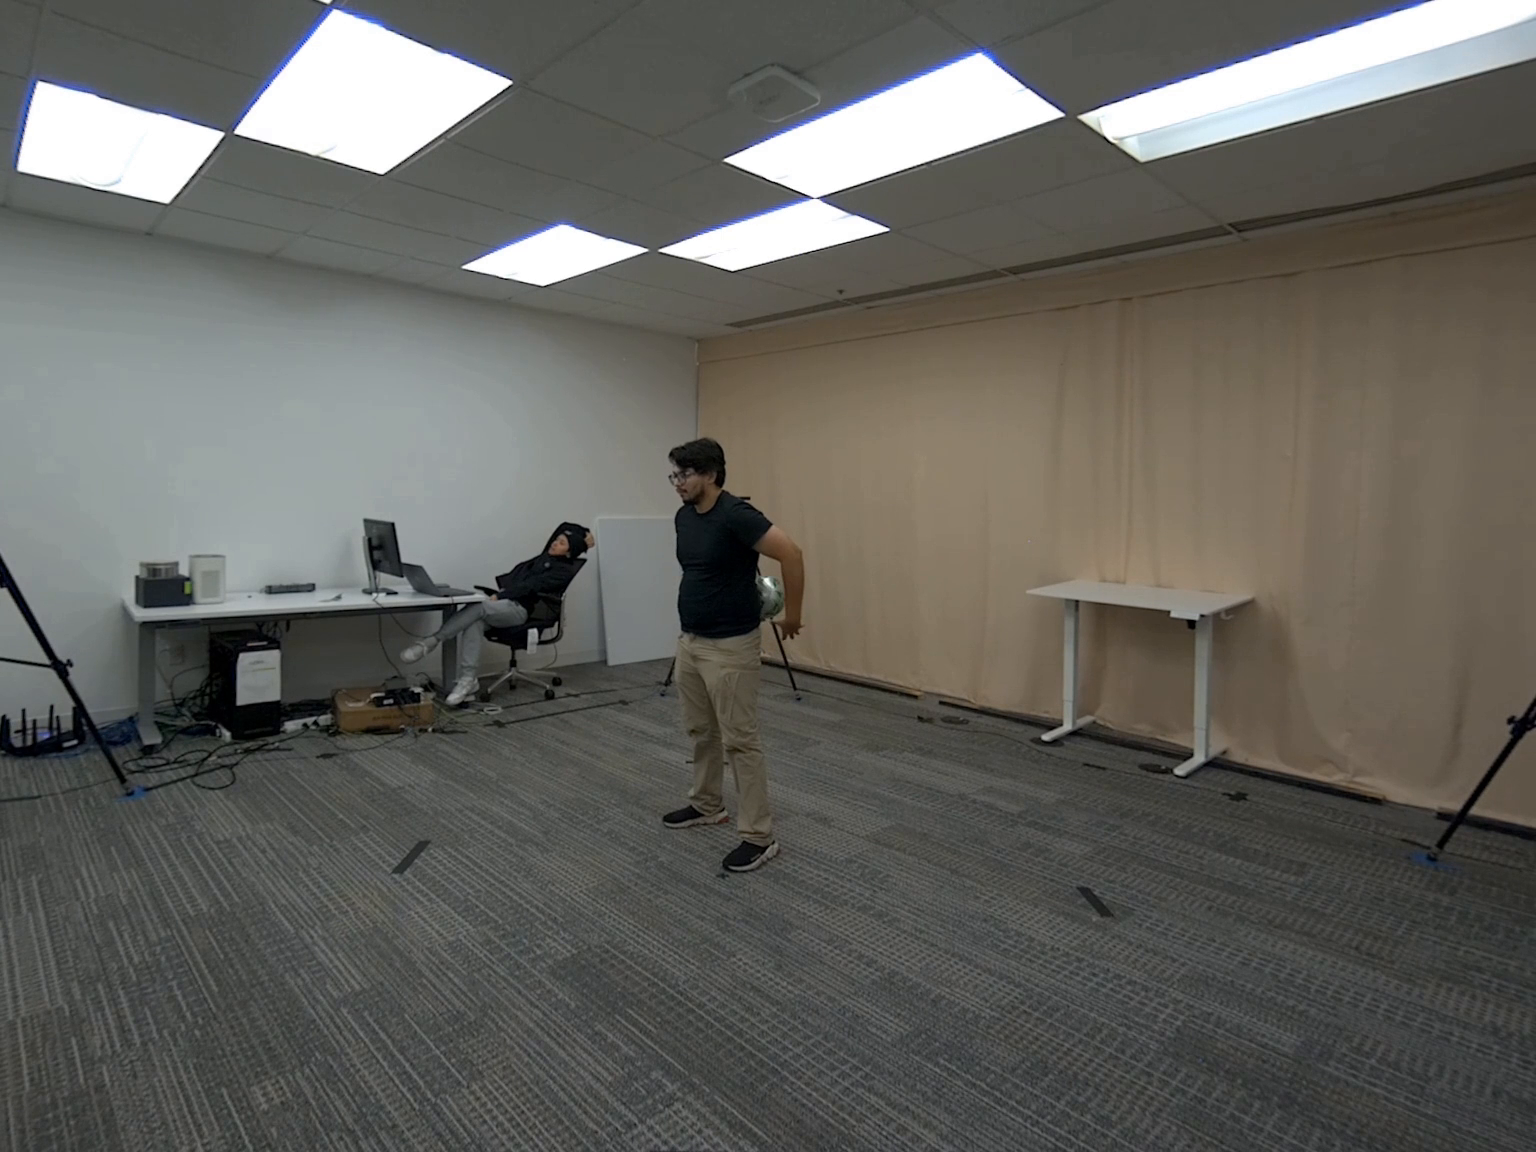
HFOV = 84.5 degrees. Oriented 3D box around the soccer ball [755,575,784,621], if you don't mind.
[{"bbox_3d":[-0.027,0.087,3.599,0.187,0.187,0.188,1,4,-1],"label":"soccer ball"}]
